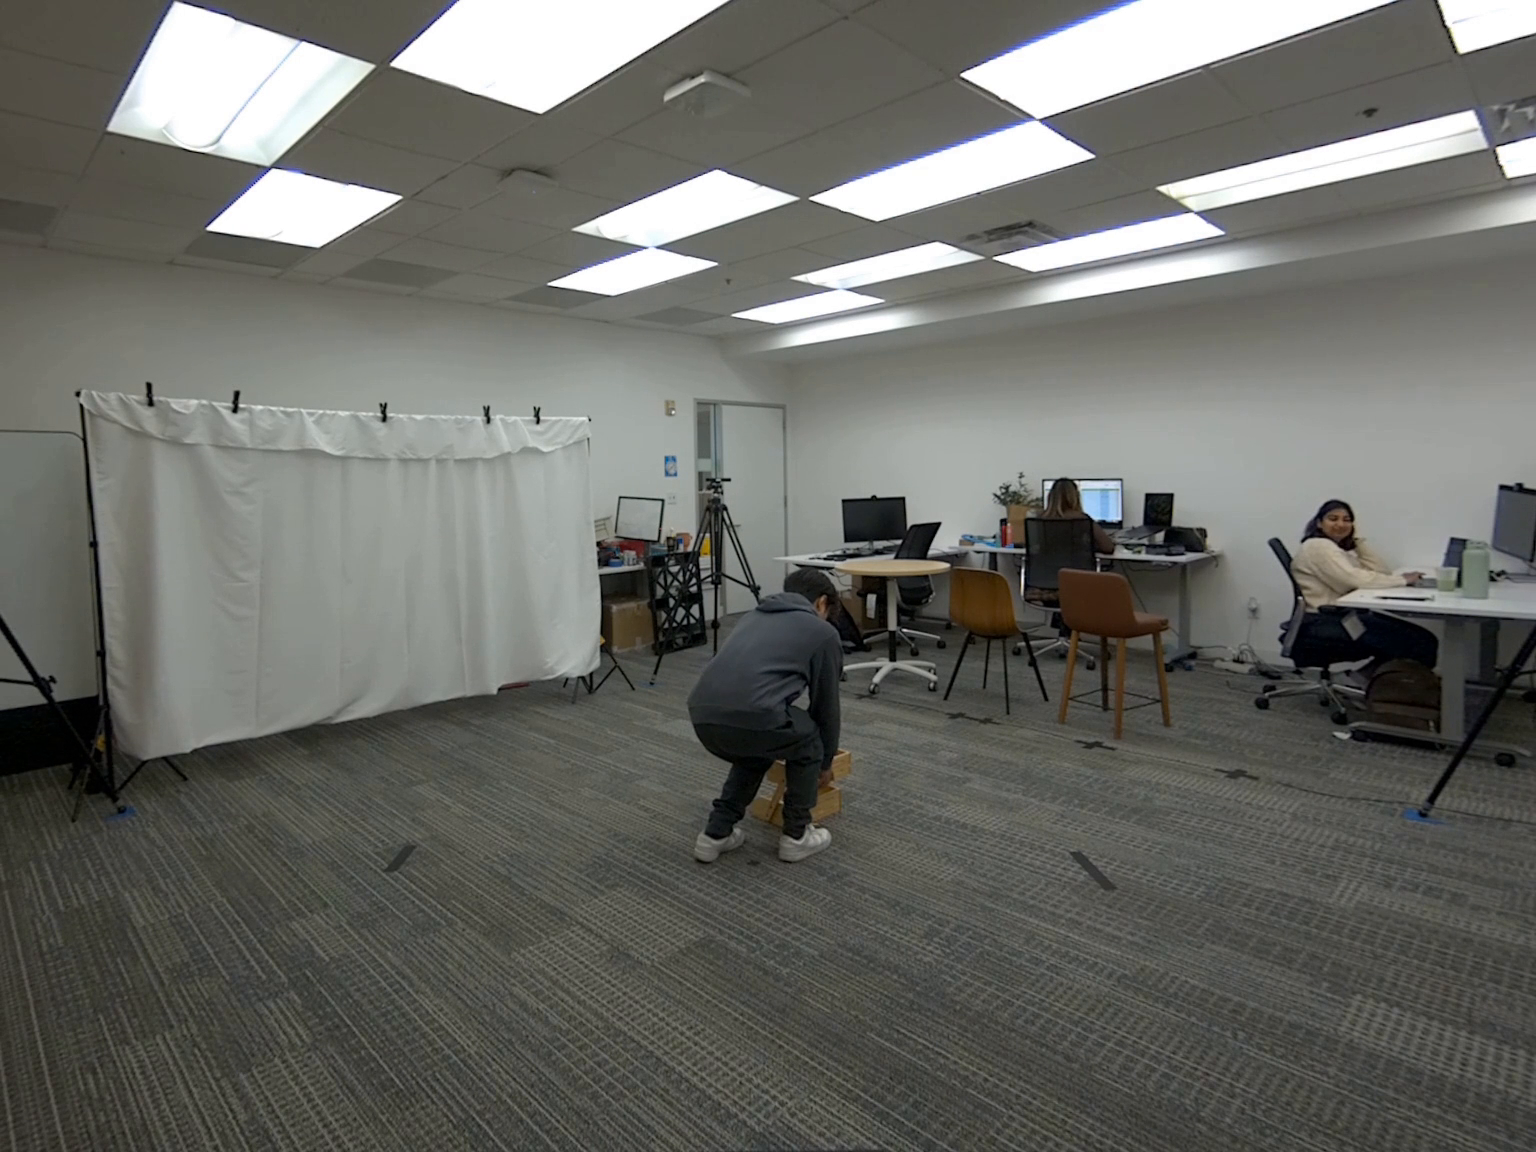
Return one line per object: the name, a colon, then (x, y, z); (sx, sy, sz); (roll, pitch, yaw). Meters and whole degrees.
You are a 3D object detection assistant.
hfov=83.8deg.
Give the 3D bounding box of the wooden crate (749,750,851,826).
wooden crate: (0.131, 0.855, 3.547); (0.311, 0.272, 0.316); (6, 9, 44)
